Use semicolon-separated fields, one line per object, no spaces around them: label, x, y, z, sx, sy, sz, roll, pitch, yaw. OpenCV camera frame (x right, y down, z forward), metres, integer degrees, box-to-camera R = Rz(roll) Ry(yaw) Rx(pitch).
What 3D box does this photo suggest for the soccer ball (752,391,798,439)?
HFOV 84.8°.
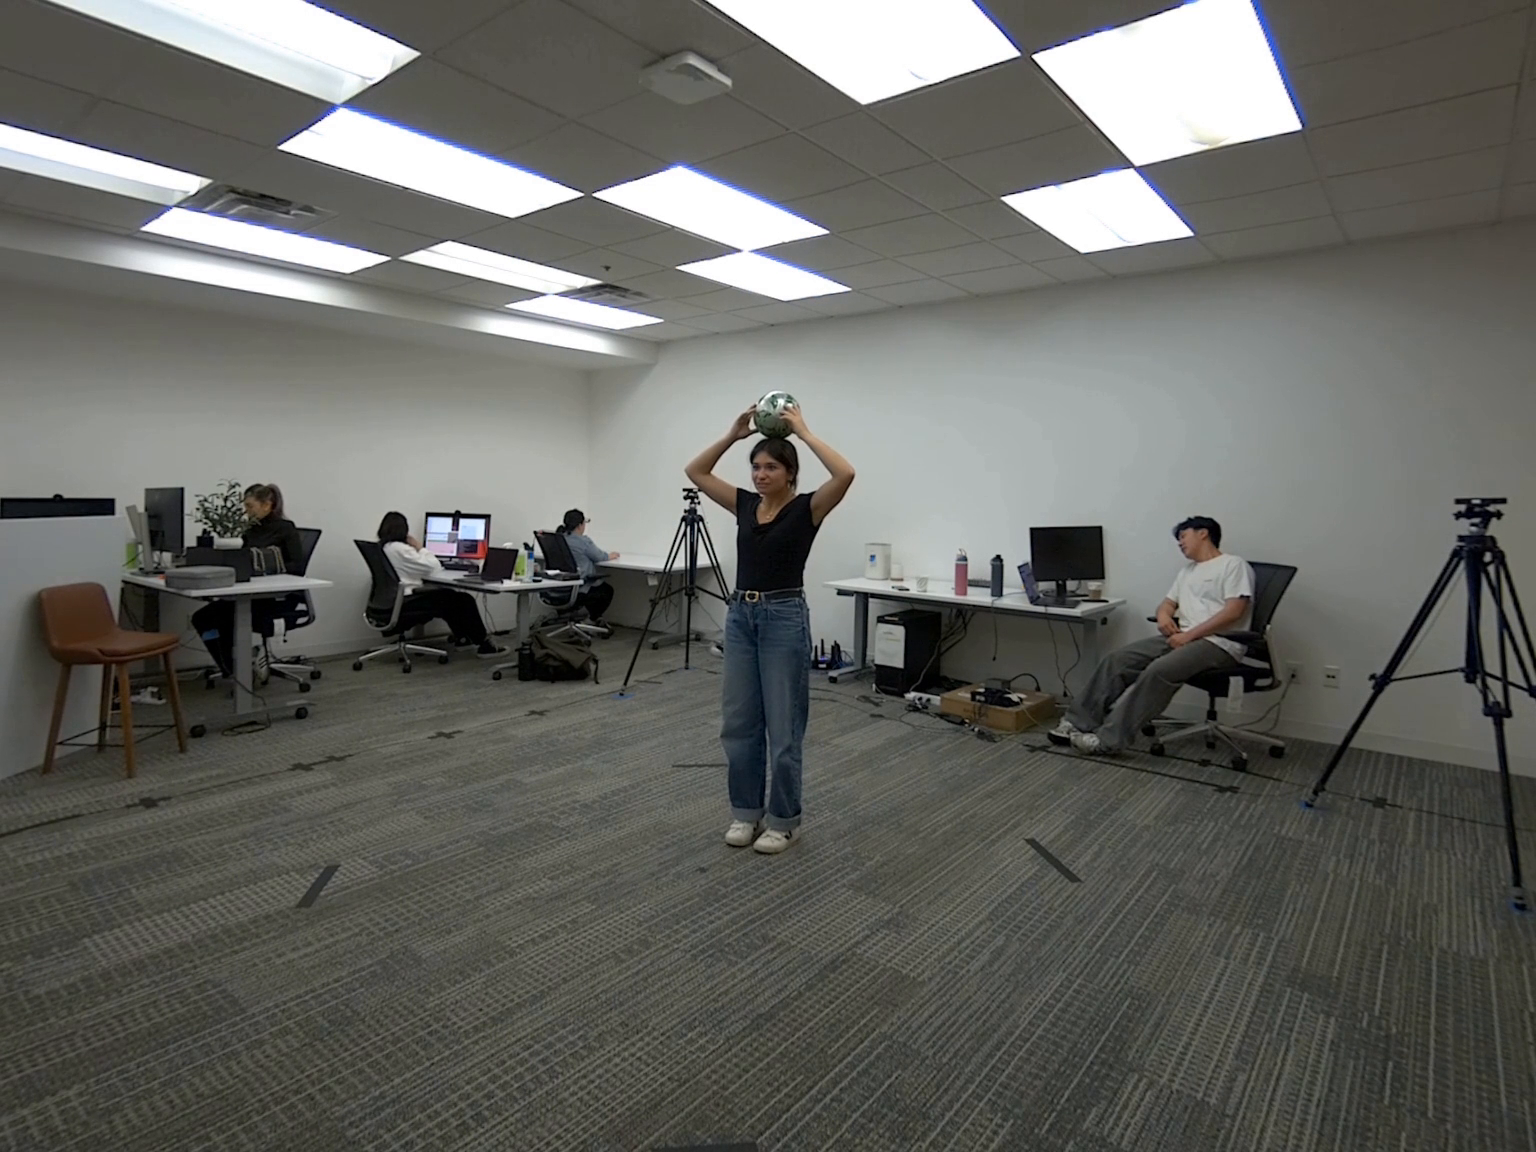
soccer ball;0.032;-0.632;3.319;0.187;0.187;0.188;1;4;-2
